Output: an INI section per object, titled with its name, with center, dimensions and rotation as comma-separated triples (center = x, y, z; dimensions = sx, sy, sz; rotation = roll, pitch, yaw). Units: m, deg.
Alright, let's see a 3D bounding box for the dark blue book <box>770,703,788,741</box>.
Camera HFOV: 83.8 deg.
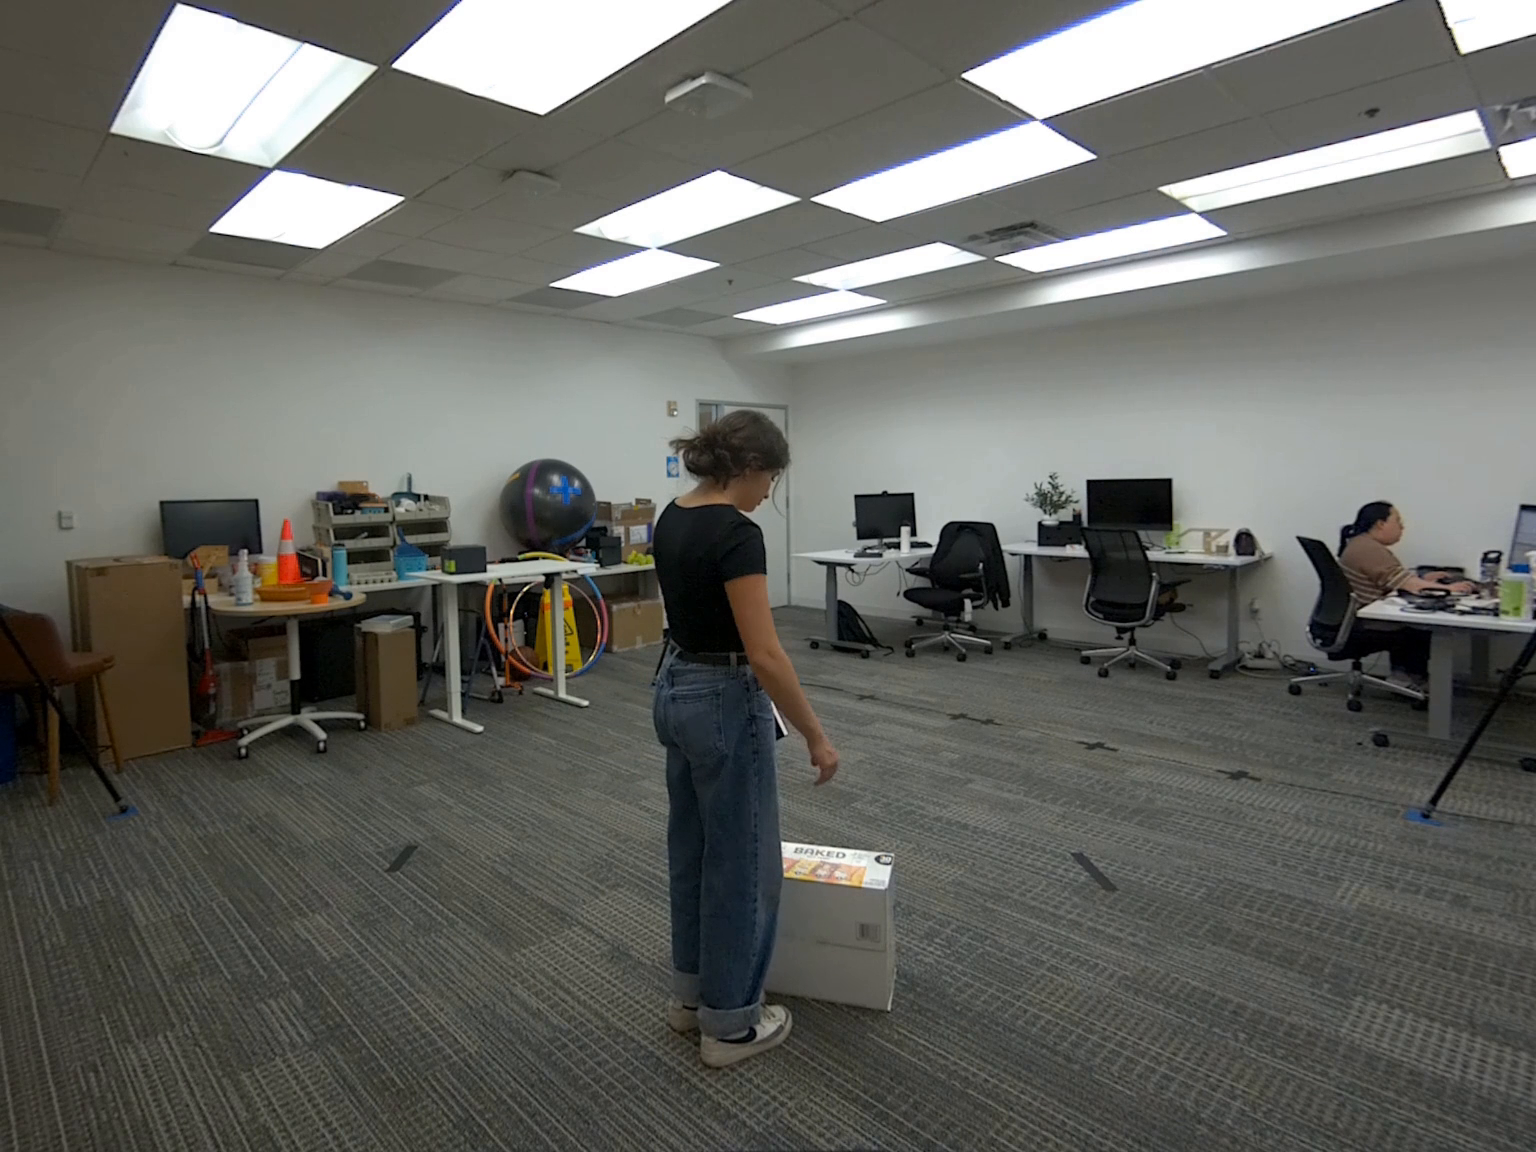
[dark blue book]
center = -0.074, 0.432, 2.415
dimensions = 0.246, 0.166, 0.044
rotation = -30, -13, 17
